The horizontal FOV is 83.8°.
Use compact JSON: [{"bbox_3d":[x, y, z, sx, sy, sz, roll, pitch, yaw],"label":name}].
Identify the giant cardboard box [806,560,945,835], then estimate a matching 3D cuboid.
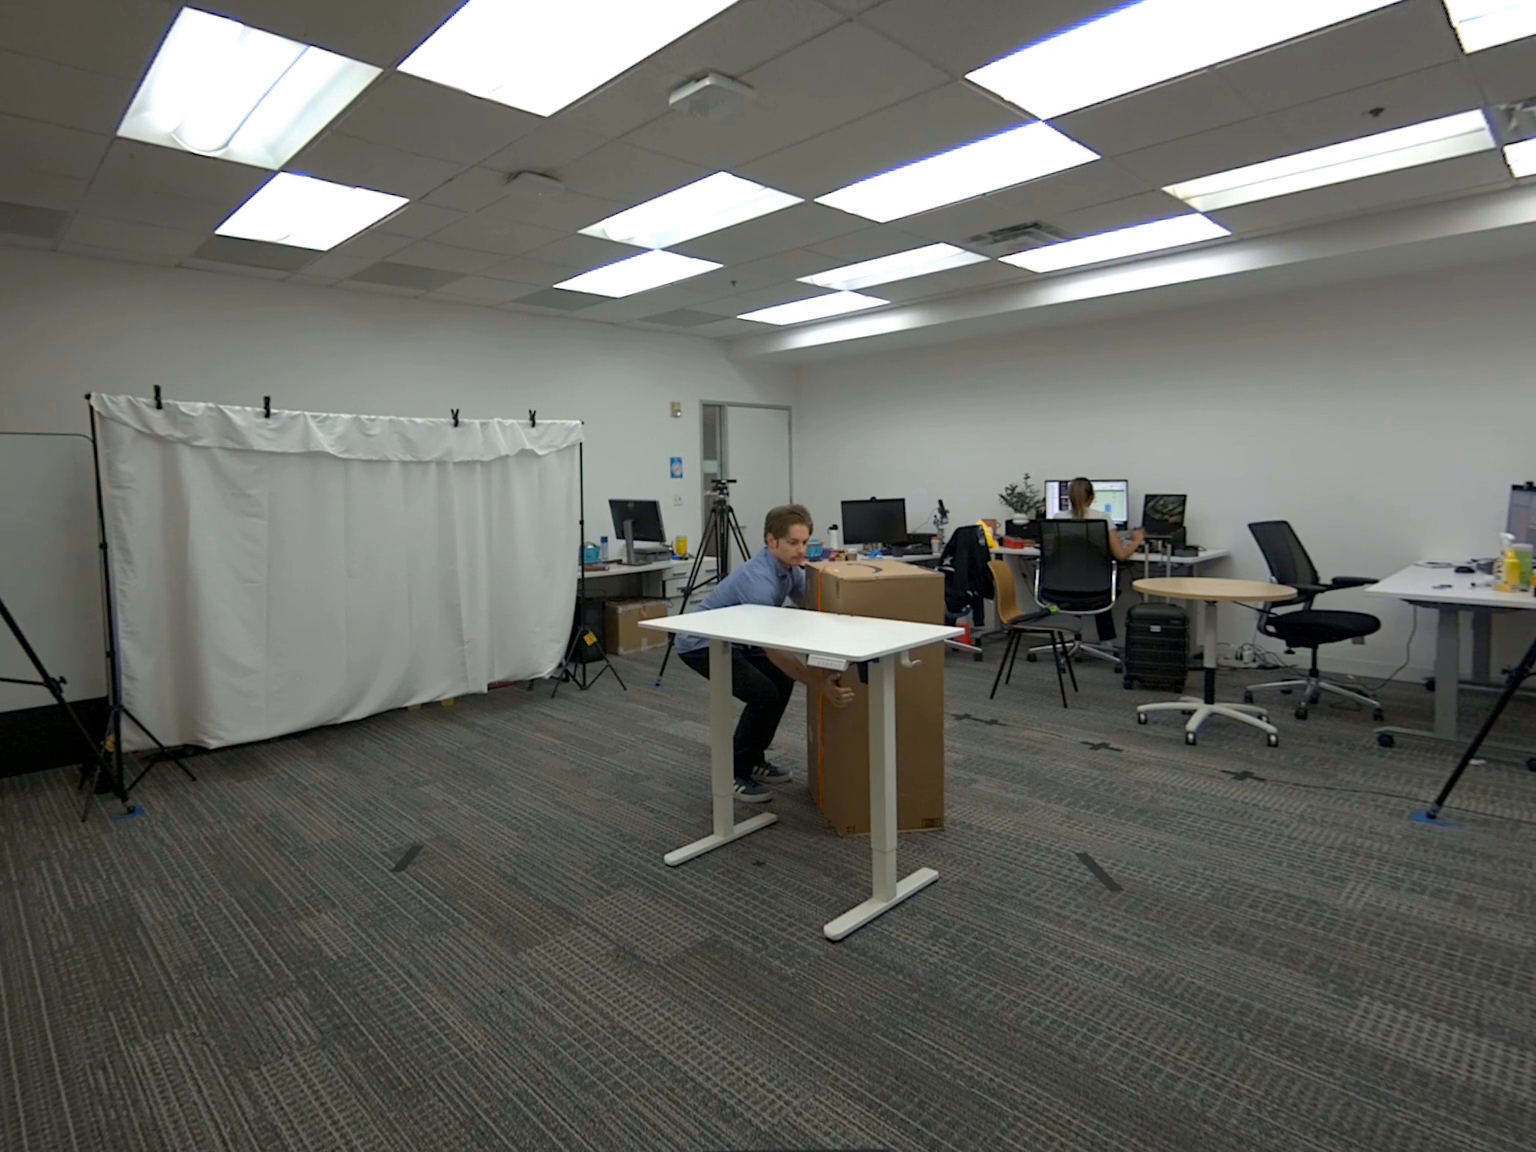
[{"bbox_3d":[0.430,0.473,3.596,0.423,1.021,0.585,-2,5,-9],"label":"giant cardboard box"}]
